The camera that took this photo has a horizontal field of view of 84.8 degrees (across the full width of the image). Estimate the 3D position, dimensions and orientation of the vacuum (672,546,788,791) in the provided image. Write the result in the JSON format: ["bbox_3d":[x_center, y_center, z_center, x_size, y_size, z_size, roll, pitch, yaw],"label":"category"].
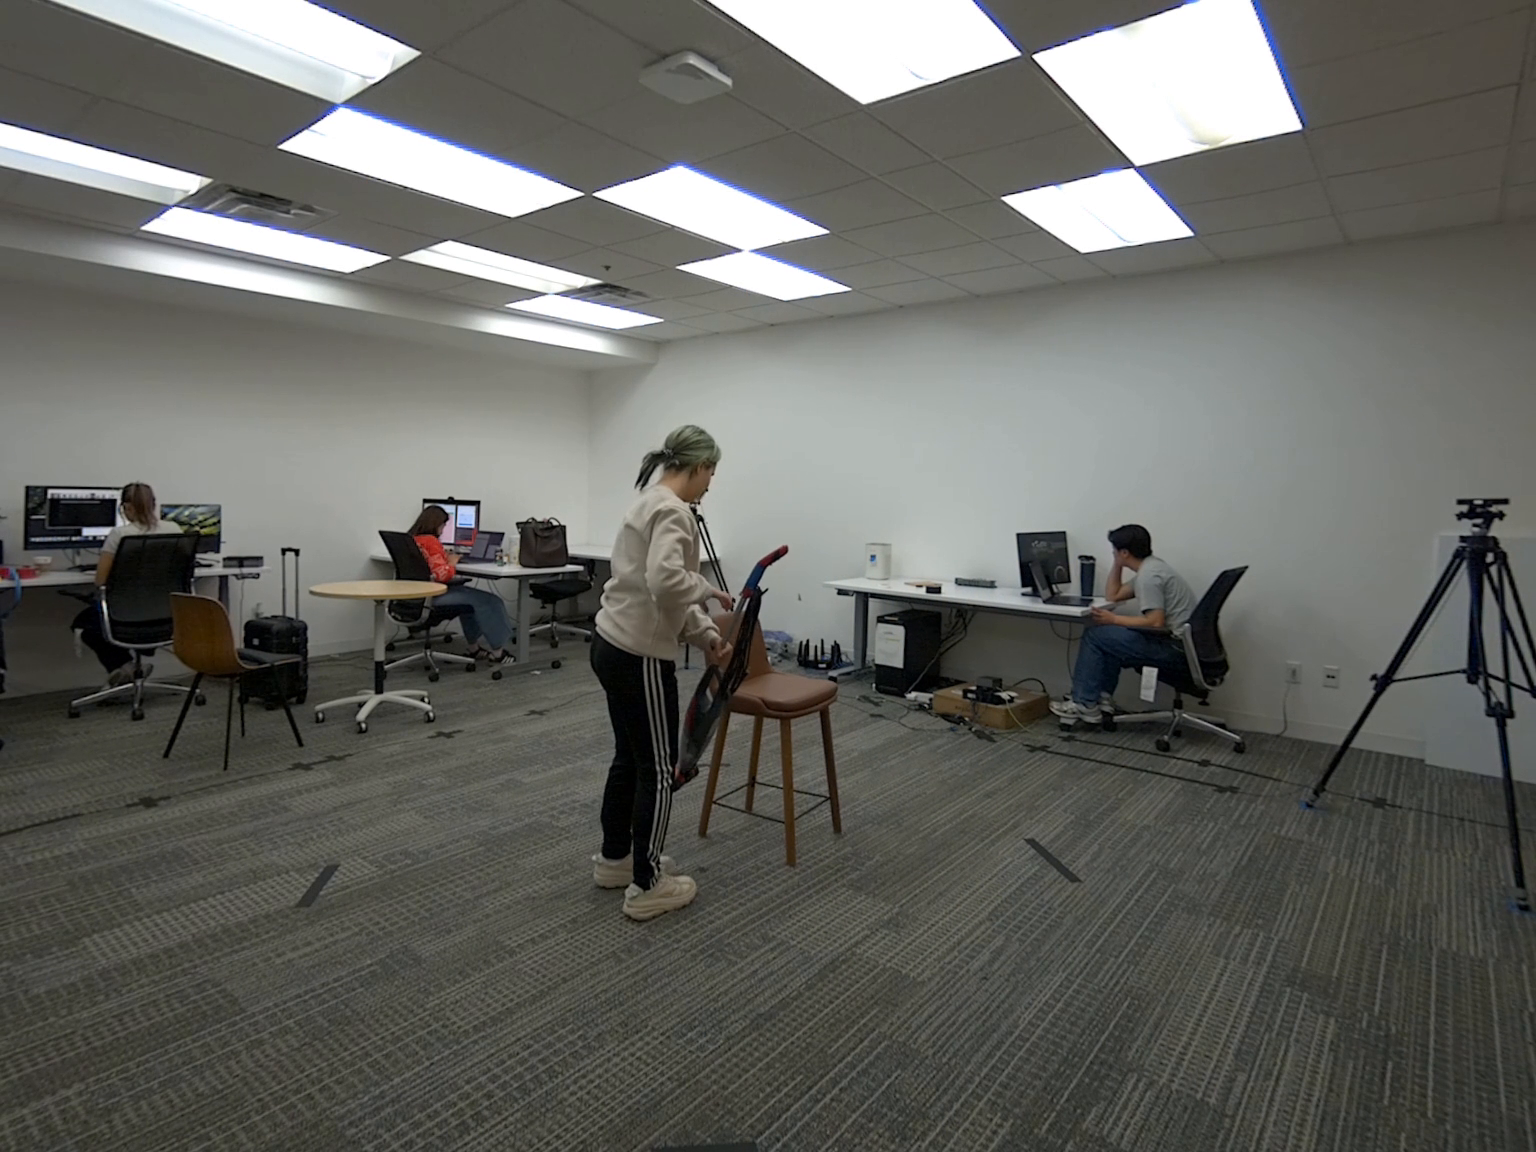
[{"bbox_3d":[-0.152,0.333,2.838,0.147,1.039,0.250,34,29,12],"label":"vacuum"}]
